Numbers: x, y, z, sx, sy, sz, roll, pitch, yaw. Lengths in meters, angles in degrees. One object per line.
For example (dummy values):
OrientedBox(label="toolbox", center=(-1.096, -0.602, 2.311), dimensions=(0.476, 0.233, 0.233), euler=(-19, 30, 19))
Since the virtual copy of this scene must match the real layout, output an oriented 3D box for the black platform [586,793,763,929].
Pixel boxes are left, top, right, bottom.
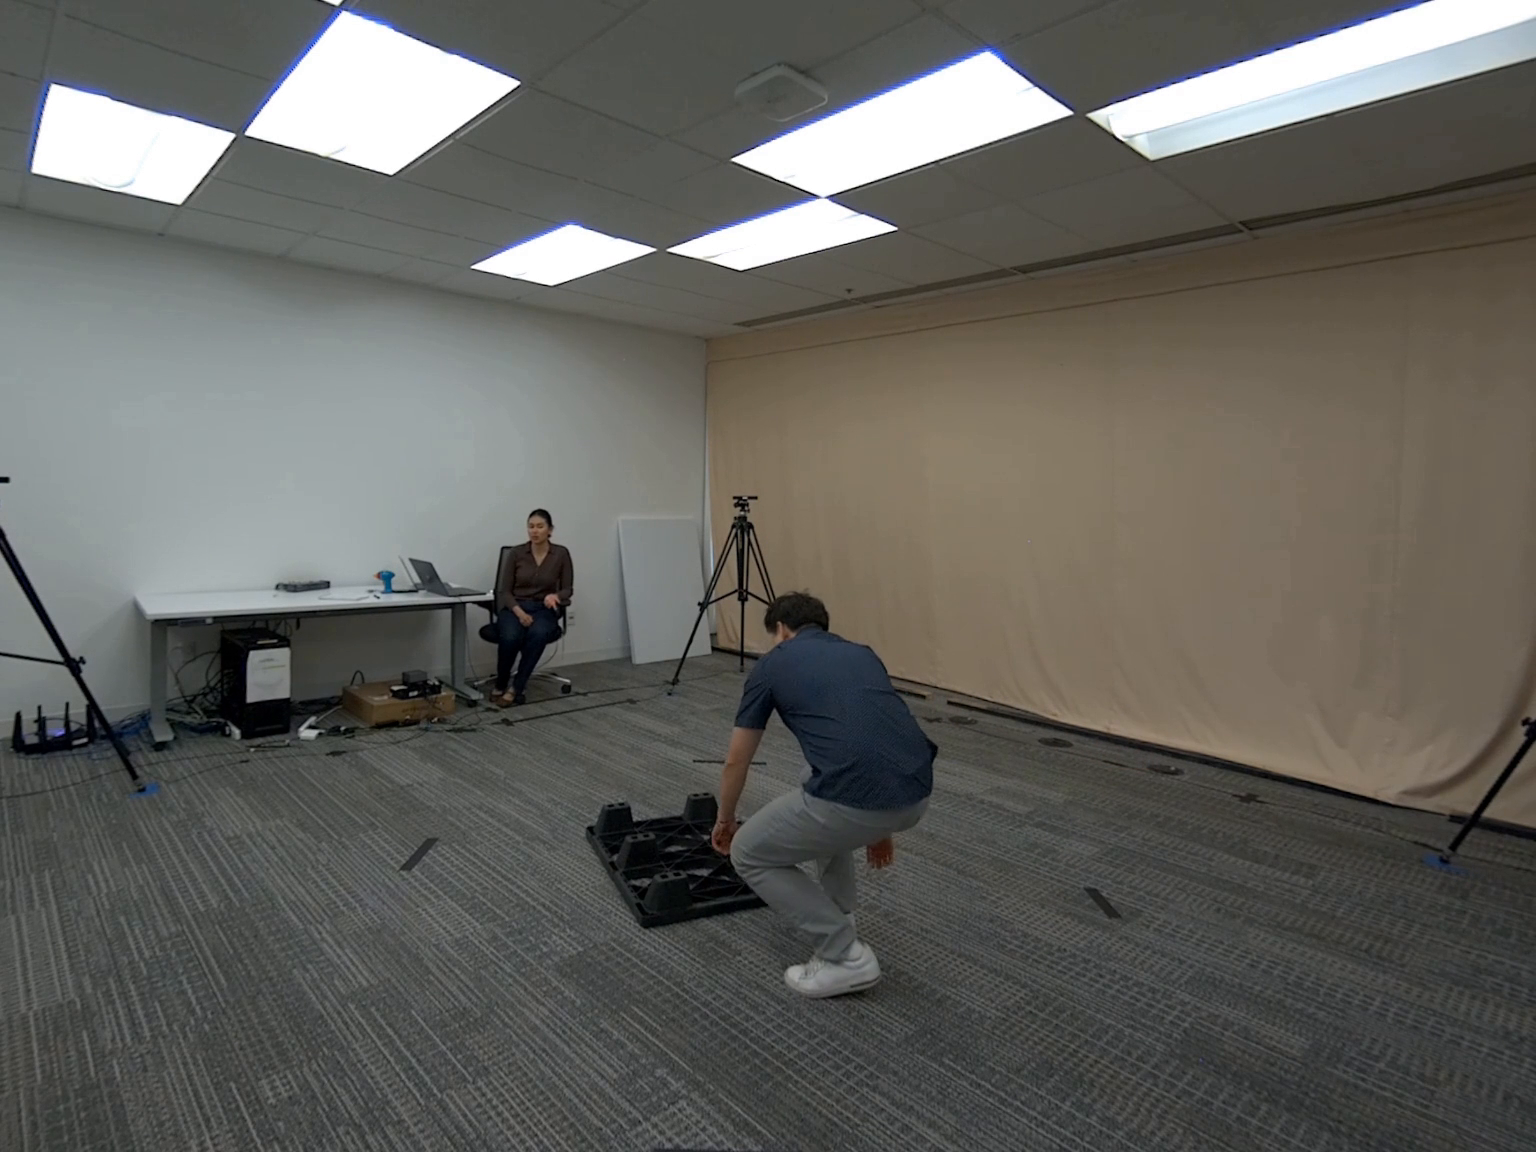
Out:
OrientedBox(label="black platform", center=(-0.302, 1.026, 3.171), dimensions=(0.594, 0.143, 0.822), euler=(-1, 6, -25))
